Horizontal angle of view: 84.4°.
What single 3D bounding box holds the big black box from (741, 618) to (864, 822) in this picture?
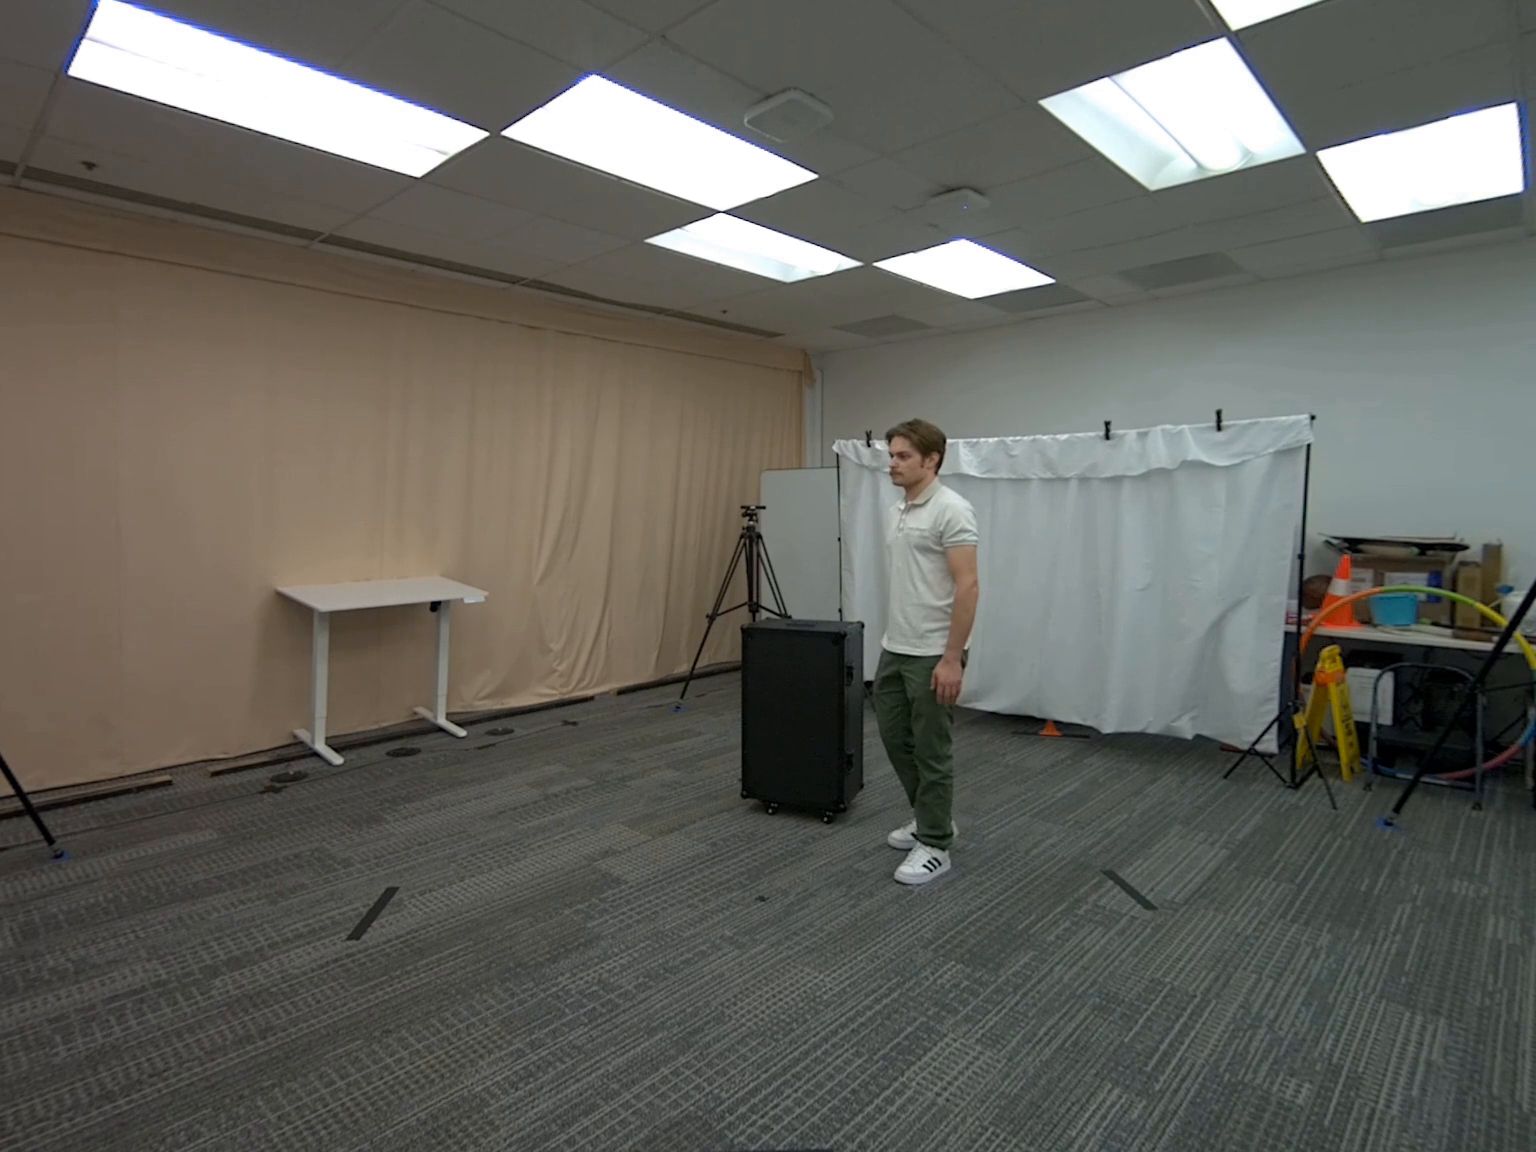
[{"bbox_3d":[0.162,0.645,3.881,0.535,0.867,0.377,1,3,21],"label":"big black box"}]
